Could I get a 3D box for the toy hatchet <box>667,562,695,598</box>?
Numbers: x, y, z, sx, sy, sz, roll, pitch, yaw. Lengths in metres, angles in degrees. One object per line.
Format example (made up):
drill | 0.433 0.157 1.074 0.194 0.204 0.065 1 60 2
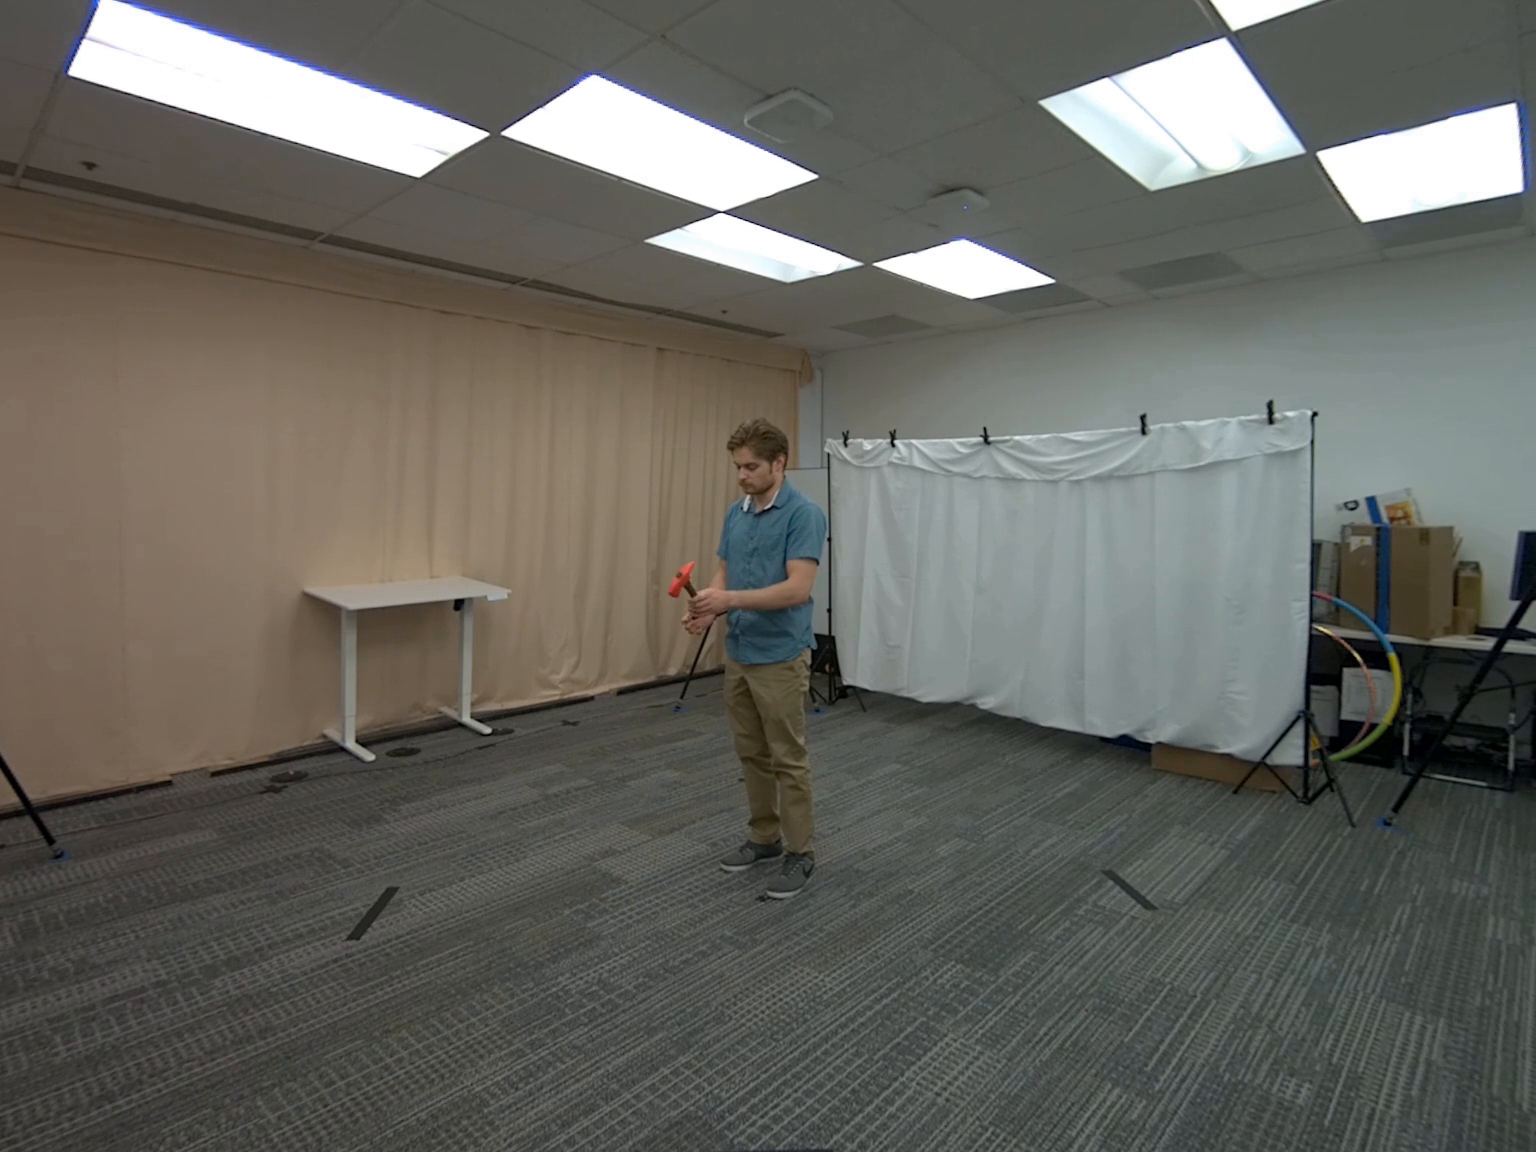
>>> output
toy hatchet | -0.285 0.082 2.809 0.030 0.265 0.130 29 53 24
